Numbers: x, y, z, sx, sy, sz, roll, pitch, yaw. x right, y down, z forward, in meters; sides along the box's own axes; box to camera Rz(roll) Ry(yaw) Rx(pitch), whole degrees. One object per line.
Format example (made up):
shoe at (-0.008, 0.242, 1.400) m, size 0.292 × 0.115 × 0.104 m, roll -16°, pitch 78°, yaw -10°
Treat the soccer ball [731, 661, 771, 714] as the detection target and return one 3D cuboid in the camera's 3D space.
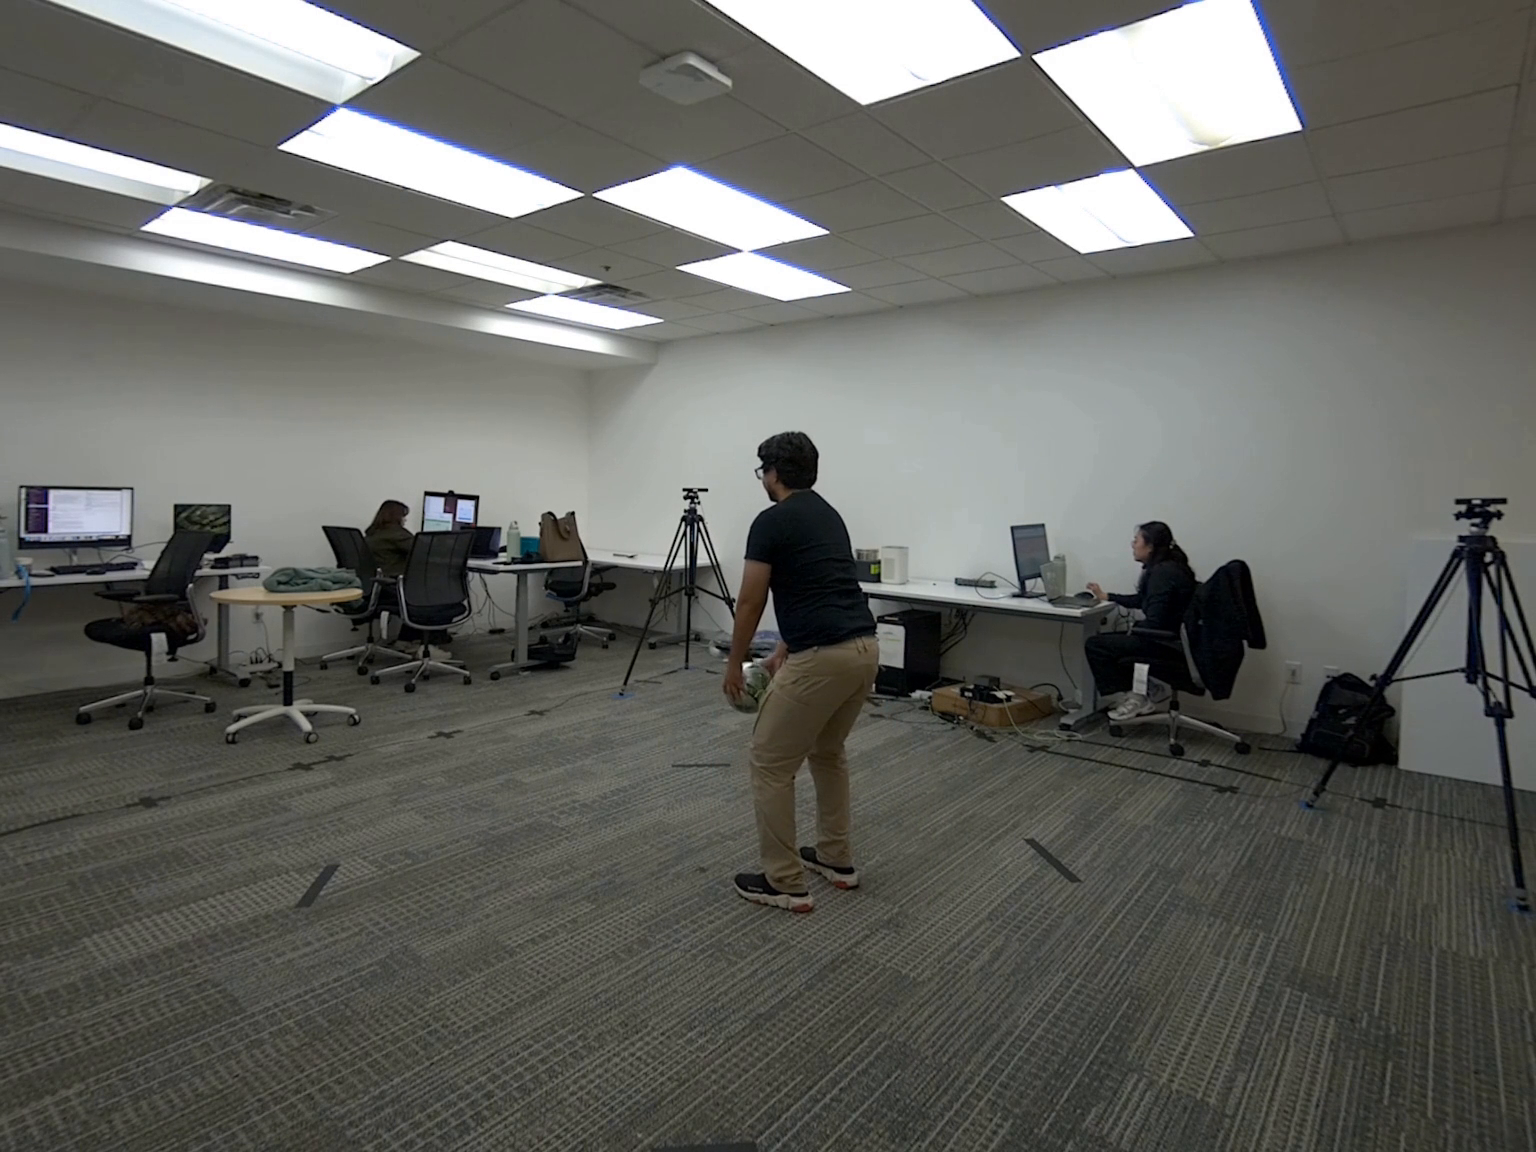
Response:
soccer ball at (-0.078, 0.416, 3.170) m, size 0.187 × 0.187 × 0.188 m, roll 1°, pitch 4°, yaw -2°
